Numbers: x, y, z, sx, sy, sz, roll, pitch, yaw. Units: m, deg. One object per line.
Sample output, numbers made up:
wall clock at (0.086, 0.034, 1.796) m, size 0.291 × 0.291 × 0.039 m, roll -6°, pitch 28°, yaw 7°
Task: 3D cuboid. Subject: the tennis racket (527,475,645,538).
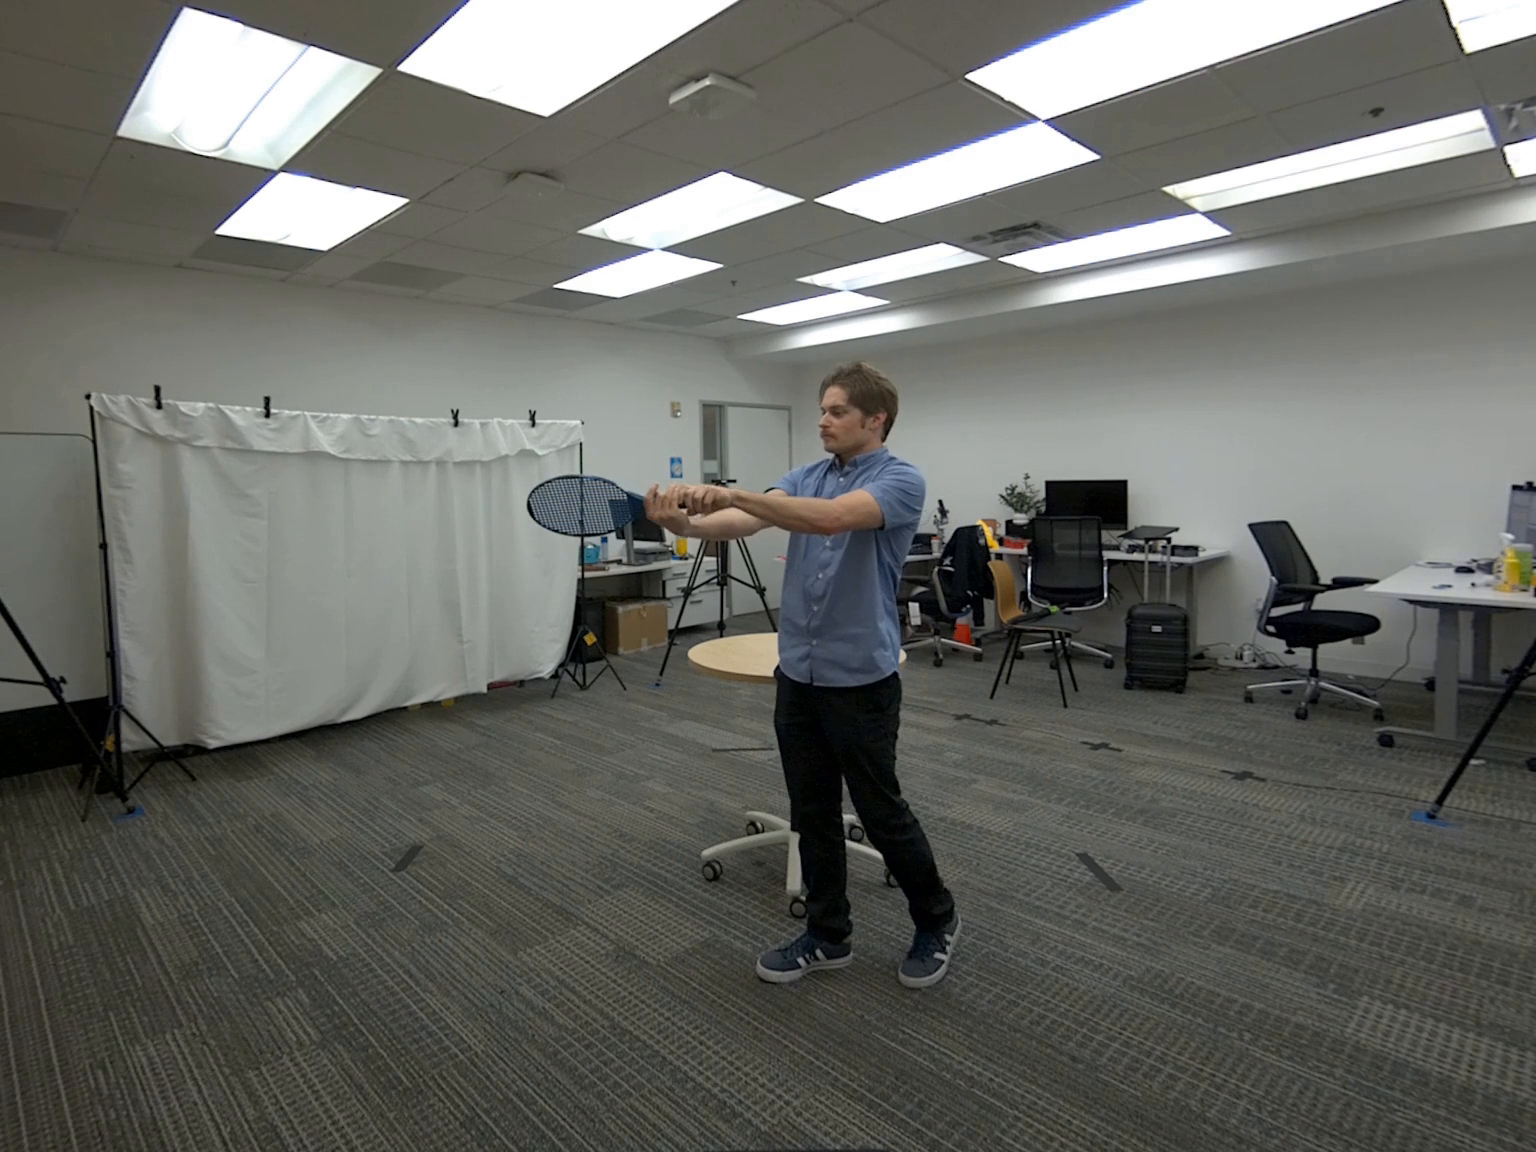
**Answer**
tennis racket at (-0.371, -0.178, 2.103) m, size 0.433 × 0.032 × 0.208 m, roll -1°, pitch -41°, yaw 1°
